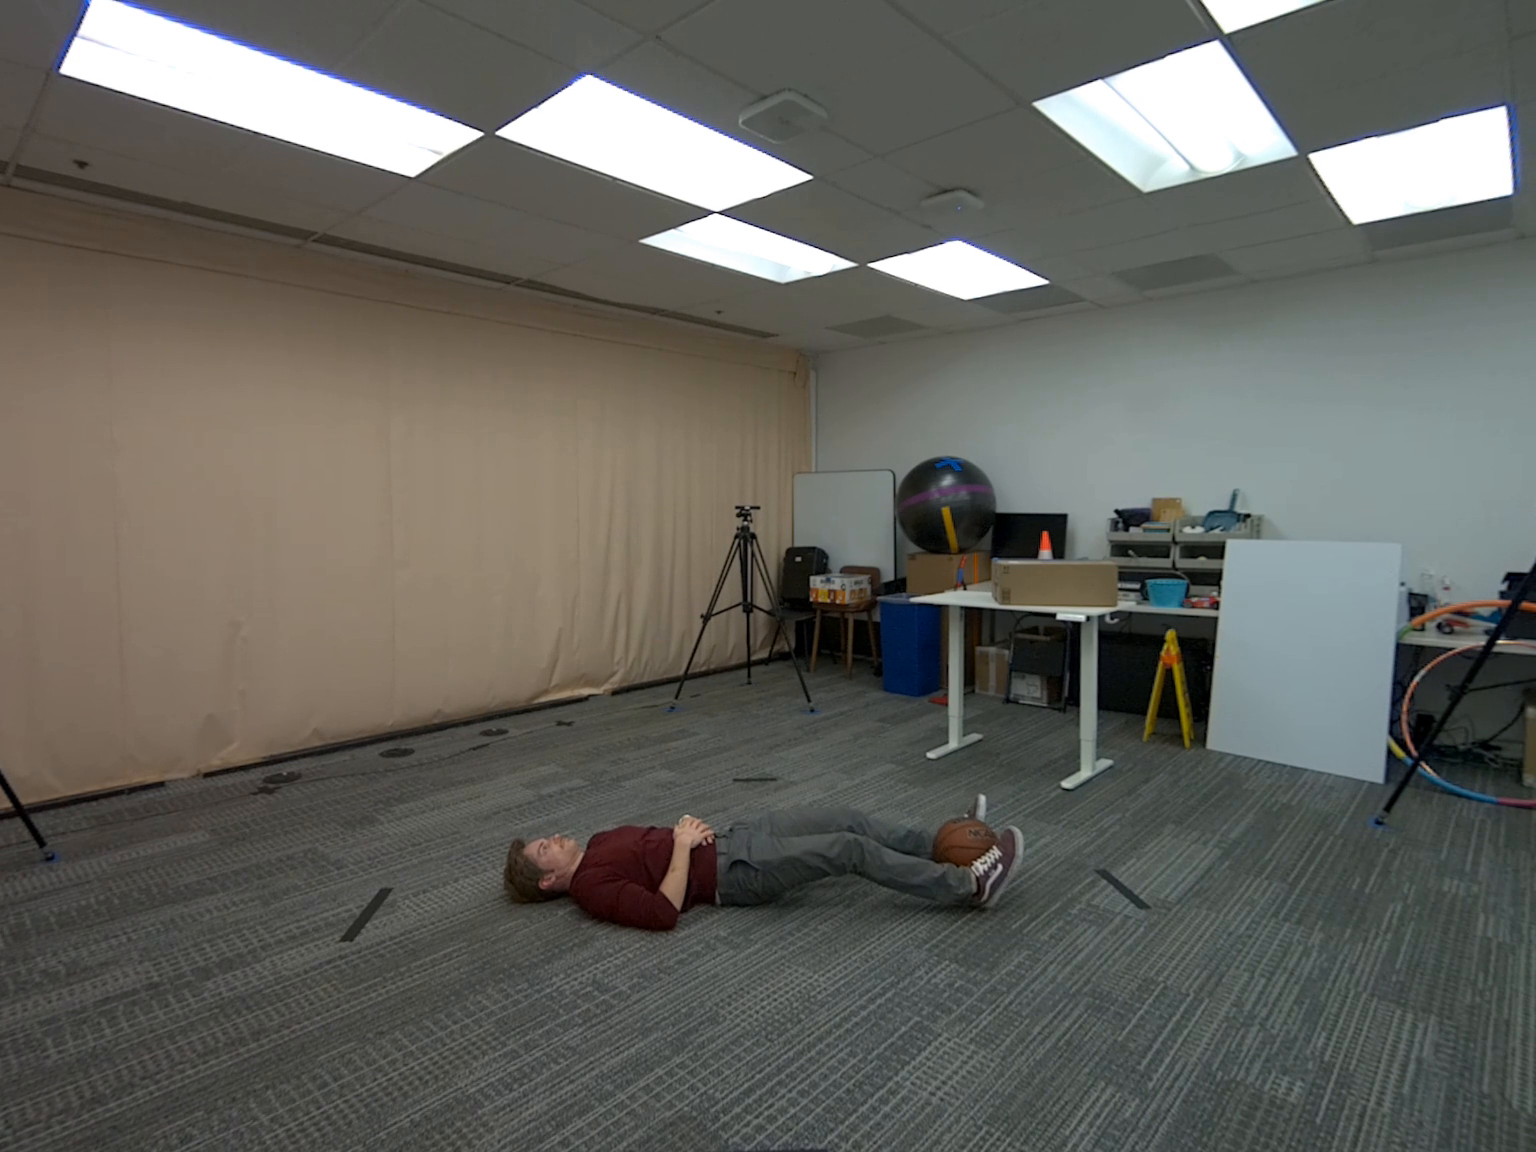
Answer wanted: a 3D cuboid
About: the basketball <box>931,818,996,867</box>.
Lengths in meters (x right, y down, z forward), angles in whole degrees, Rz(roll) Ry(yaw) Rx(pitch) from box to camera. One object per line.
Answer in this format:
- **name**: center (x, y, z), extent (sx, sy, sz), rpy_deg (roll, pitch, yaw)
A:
- **basketball**: center (0.721, 0.974, 3.021), extent (0.235, 0.235, 0.237), rpy_deg (3, 5, -2)
